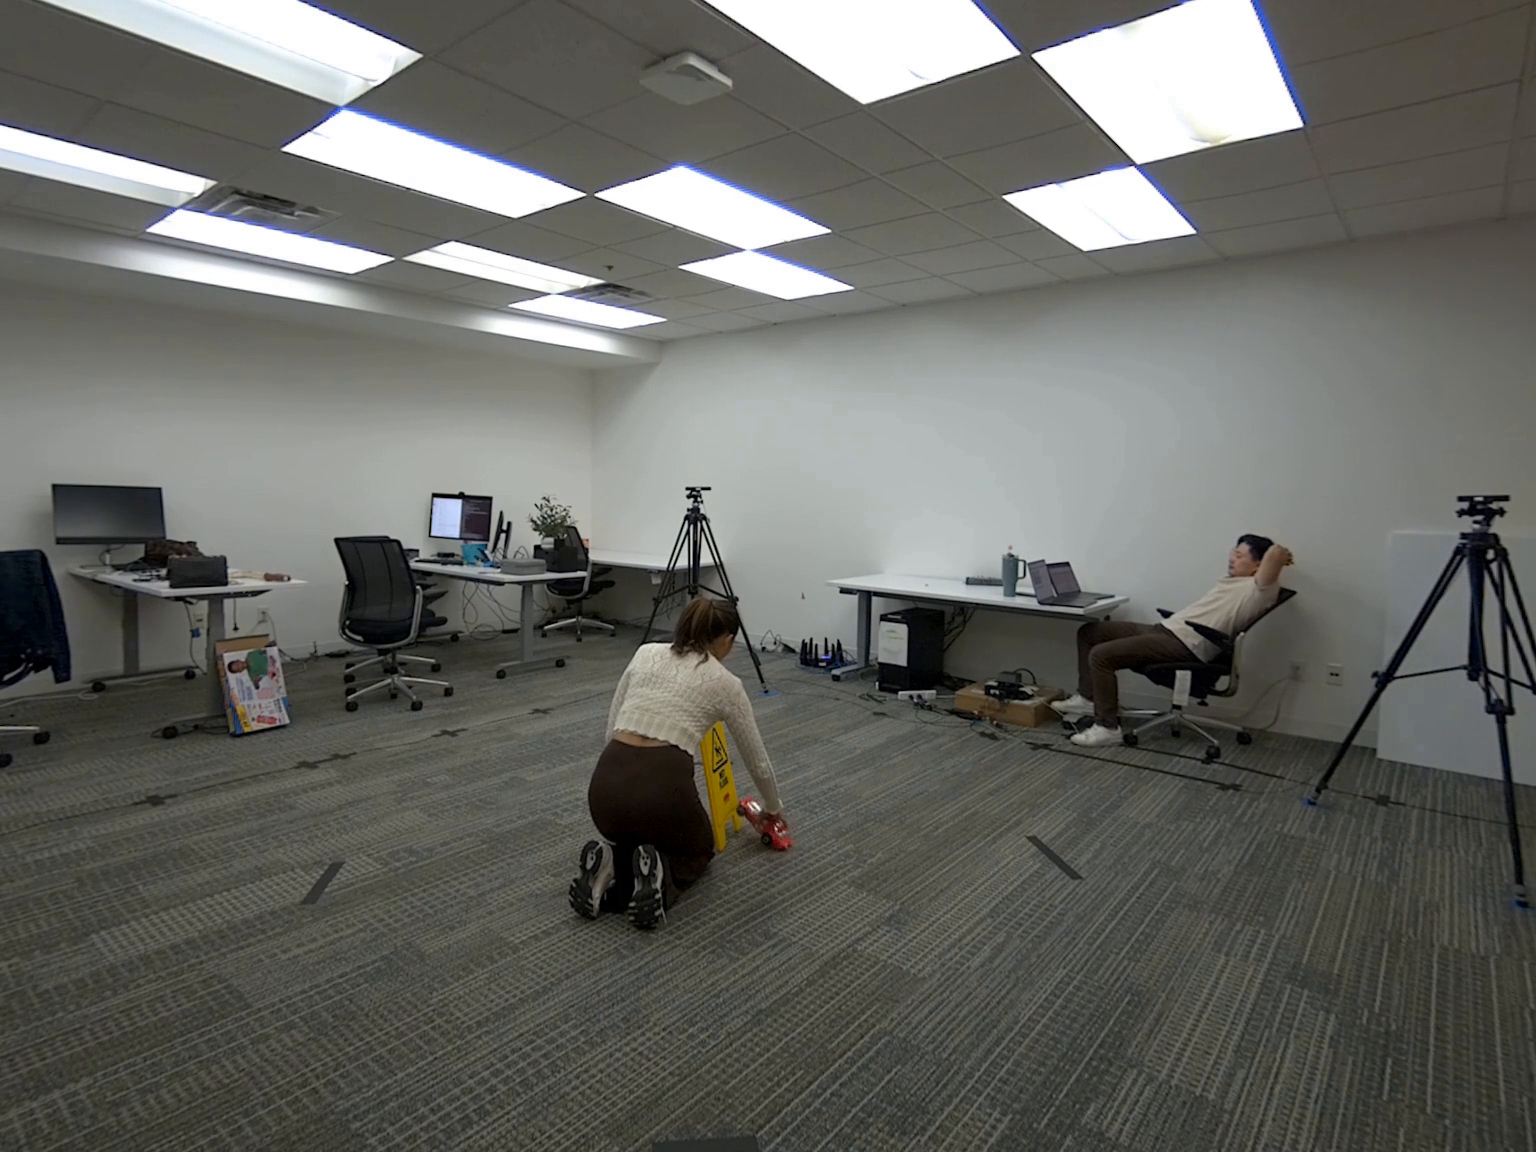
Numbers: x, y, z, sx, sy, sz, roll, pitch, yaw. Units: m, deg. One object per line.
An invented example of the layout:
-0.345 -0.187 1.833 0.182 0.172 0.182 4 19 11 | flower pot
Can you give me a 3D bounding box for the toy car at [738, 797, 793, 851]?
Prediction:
-0.020 0.979 3.338 0.263 0.083 0.126 31 15 27 | toy car
